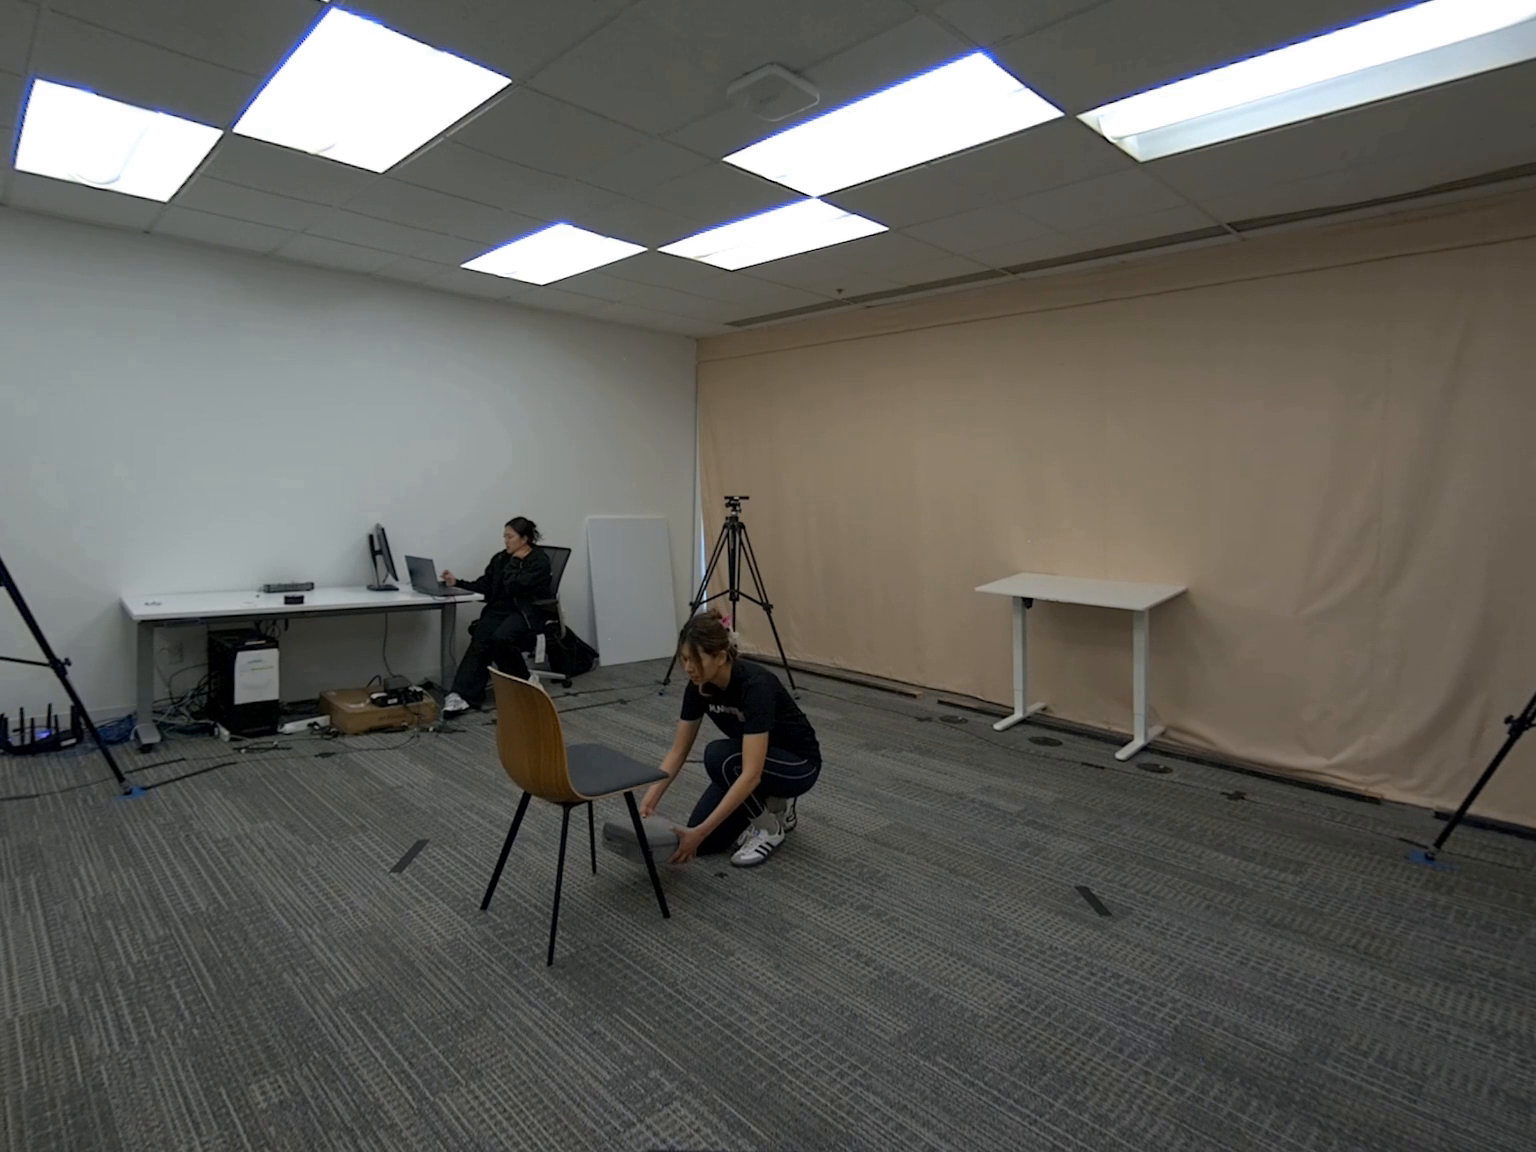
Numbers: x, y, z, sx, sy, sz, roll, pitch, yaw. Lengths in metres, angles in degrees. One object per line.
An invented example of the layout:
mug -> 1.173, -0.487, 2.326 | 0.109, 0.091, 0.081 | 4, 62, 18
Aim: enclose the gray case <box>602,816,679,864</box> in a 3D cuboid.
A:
gray case -> -0.434, 0.936, 2.989 | 0.254, 0.104, 0.263 | 8, -4, -43
